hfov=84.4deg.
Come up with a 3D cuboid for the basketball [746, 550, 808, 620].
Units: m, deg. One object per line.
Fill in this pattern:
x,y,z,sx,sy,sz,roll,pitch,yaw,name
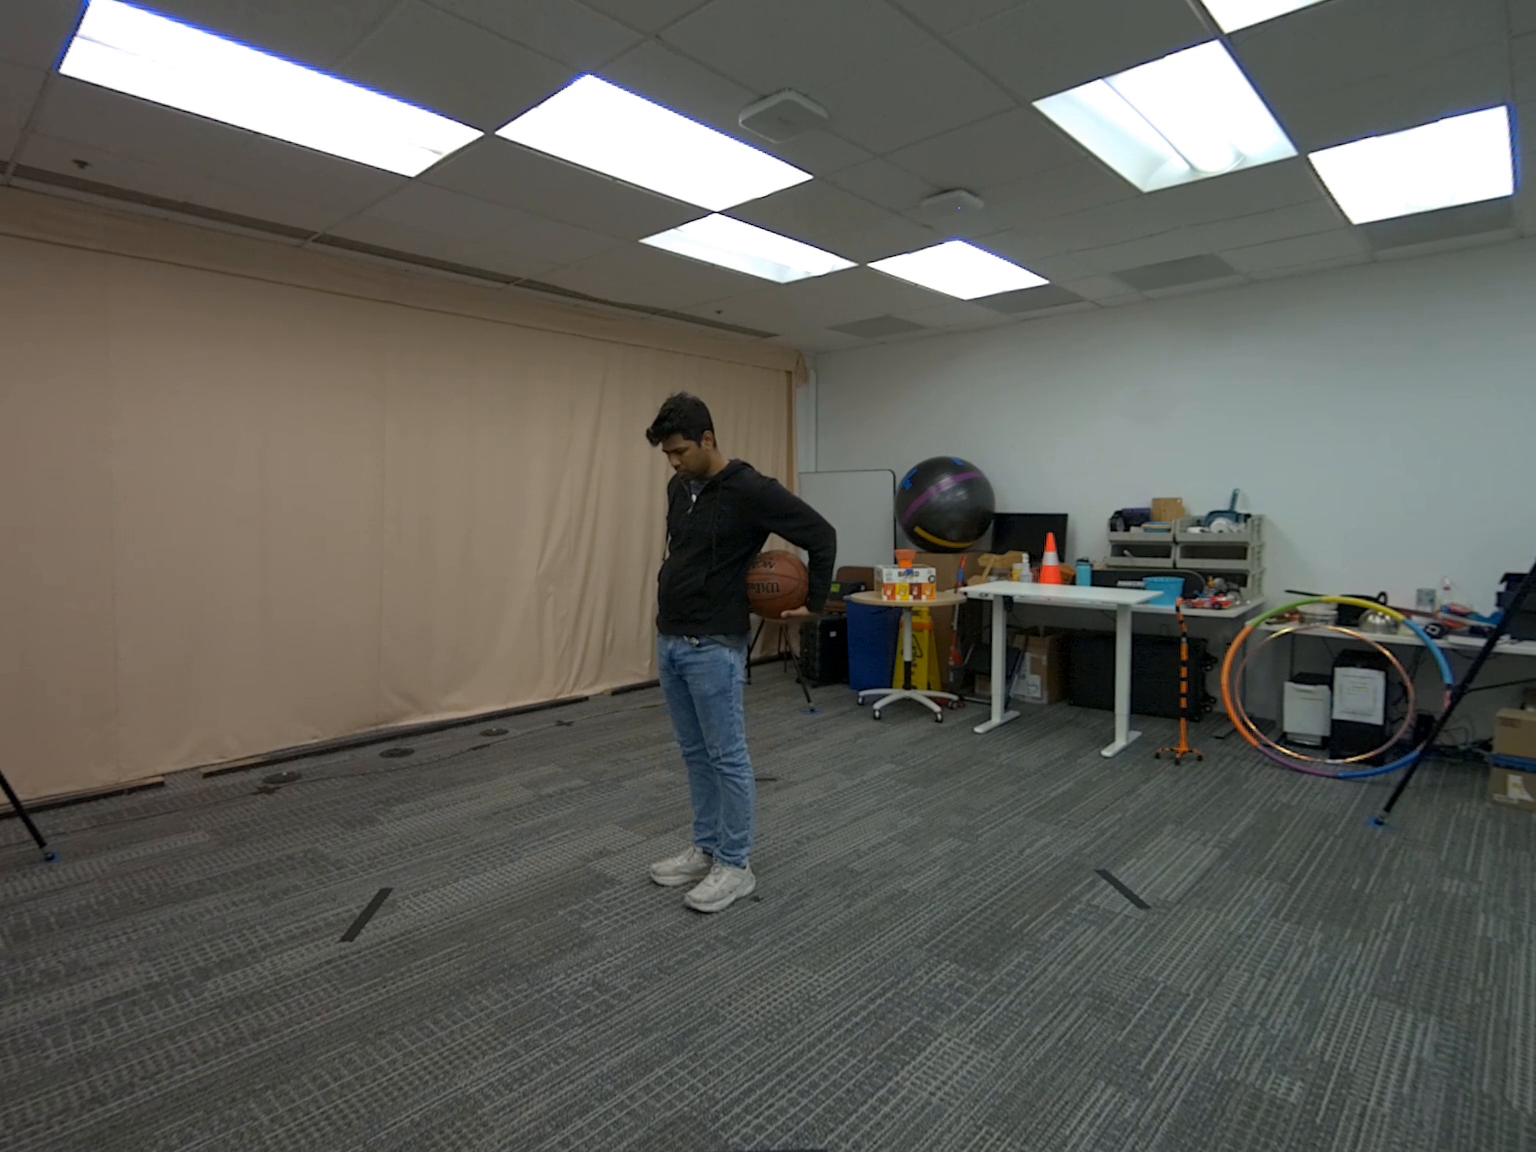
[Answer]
0.023,0.030,2.919,0.236,0.235,0.237,0,4,-2,basketball
